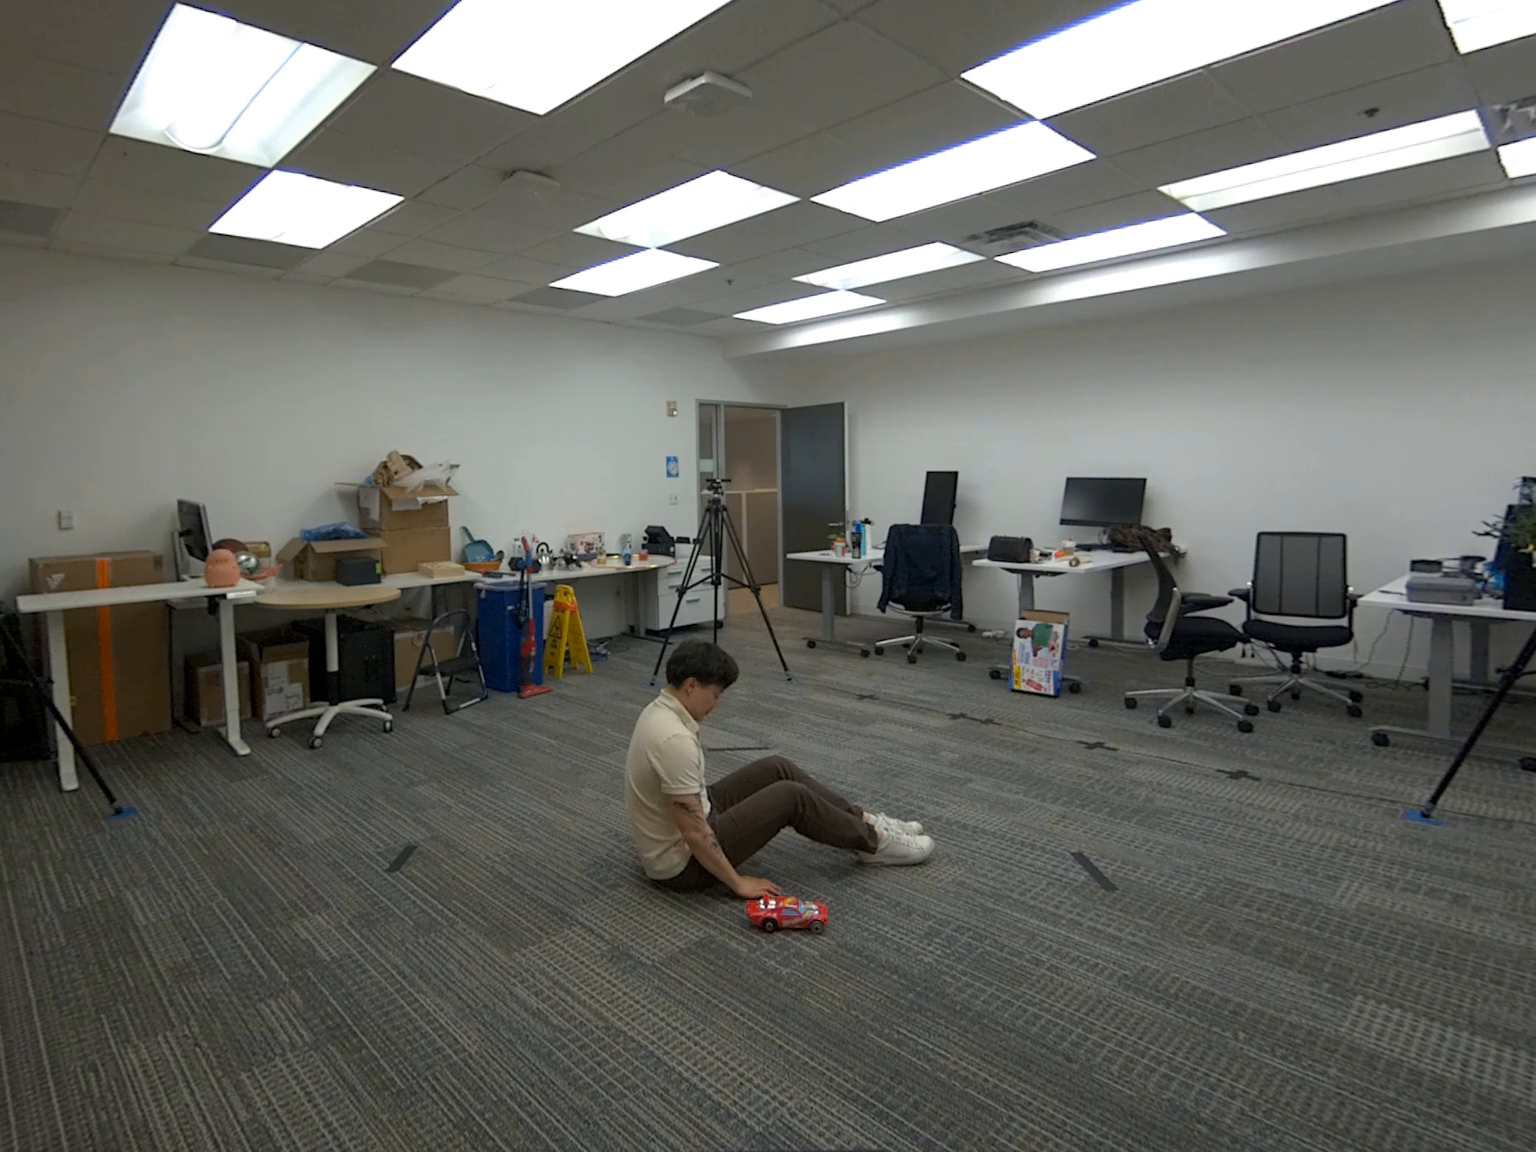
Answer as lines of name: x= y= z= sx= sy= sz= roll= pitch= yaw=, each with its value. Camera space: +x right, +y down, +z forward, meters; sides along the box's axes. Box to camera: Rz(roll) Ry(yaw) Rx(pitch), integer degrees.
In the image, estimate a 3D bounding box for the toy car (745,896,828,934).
toy car: x=0.054 y=1.065 z=2.674 sx=0.256 sy=0.083 sz=0.130 roll=10 pitch=5 yaw=4
